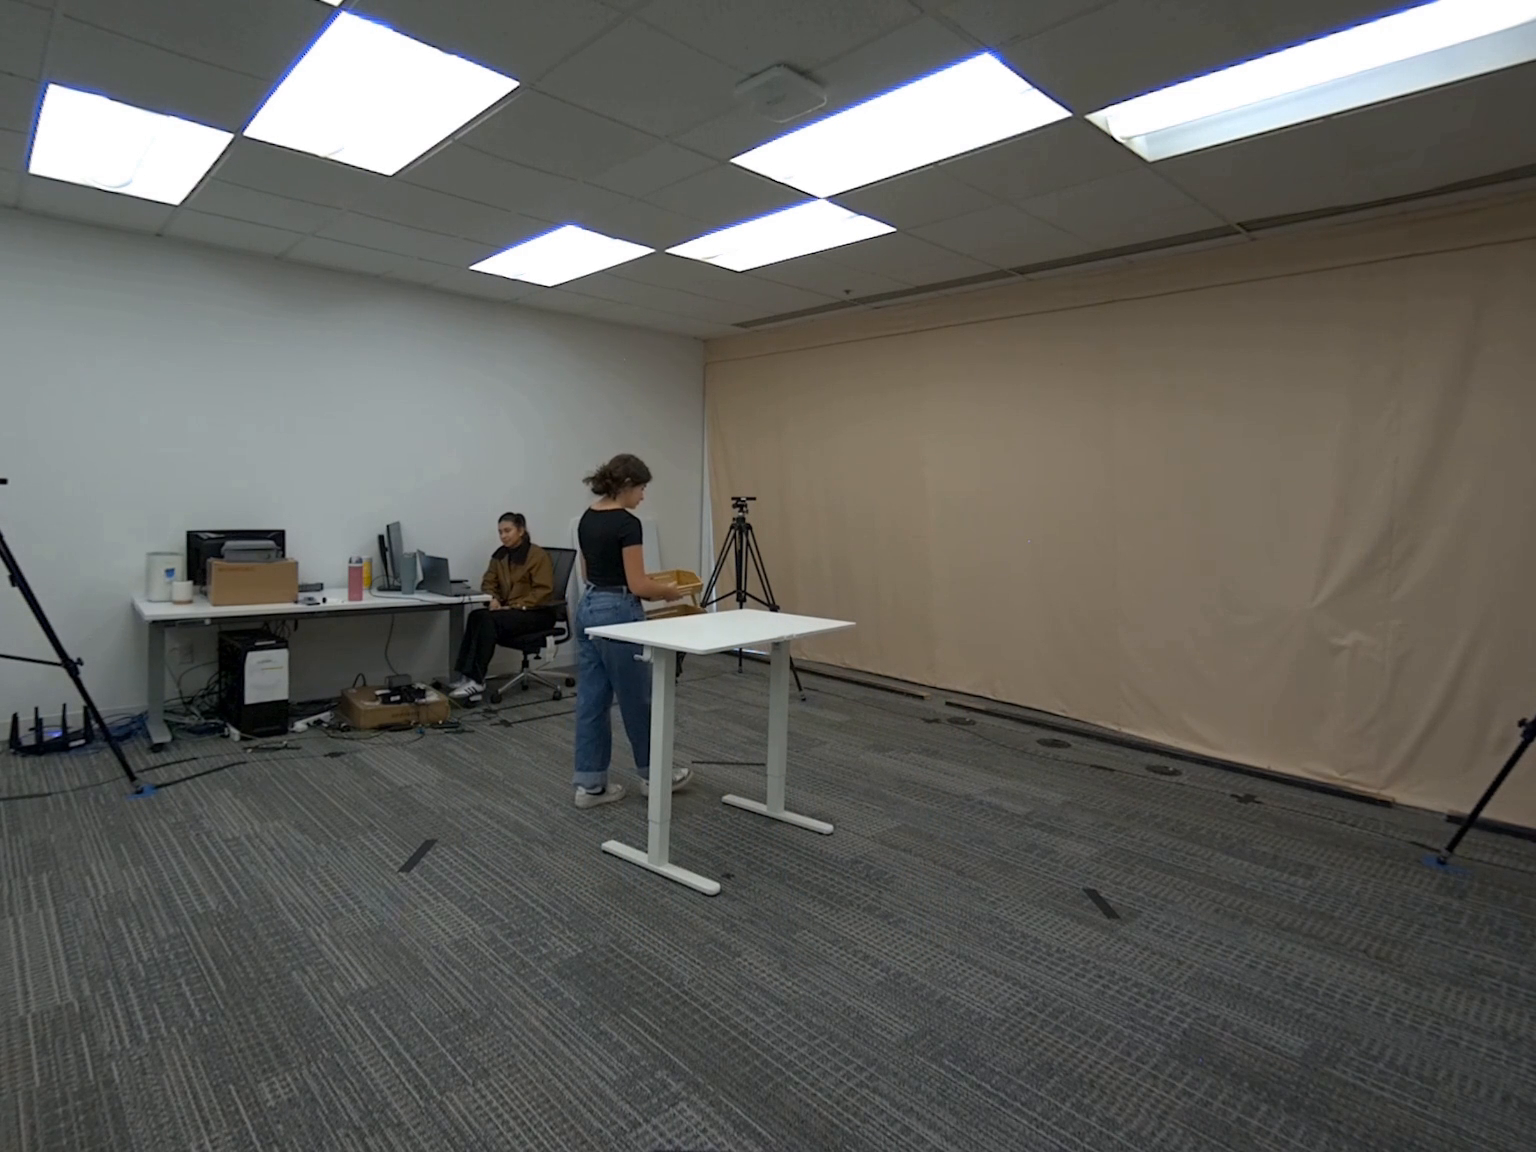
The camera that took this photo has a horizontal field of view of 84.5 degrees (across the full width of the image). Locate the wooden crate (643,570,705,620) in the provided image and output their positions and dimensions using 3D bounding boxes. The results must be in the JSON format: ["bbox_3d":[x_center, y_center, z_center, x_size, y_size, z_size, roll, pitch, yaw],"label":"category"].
[{"bbox_3d":[-0.457,0.126,3.987,0.318,0.271,0.310,-8,12,-40],"label":"wooden crate"}]
